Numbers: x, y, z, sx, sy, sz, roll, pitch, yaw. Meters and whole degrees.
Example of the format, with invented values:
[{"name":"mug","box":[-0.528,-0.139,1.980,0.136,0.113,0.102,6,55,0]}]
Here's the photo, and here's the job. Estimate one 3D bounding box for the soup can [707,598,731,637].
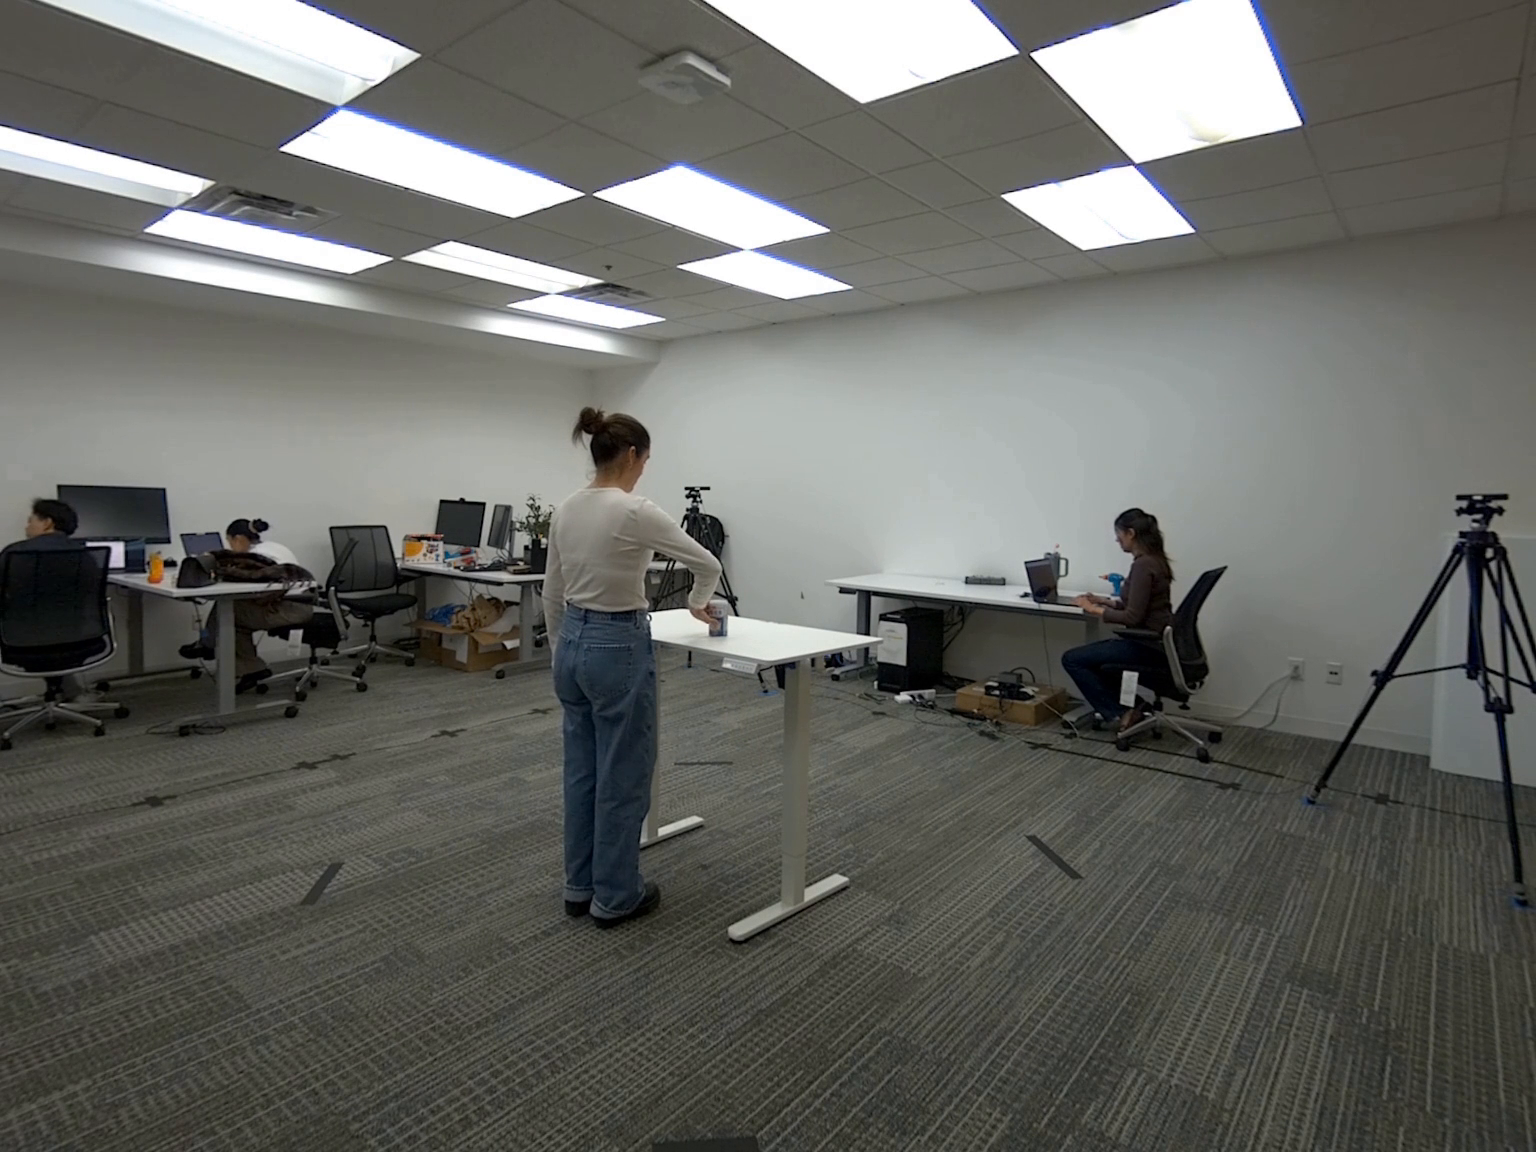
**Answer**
[{"name":"soup can","box":[-0.185,0.144,2.896,0.067,0.121,0.067,2,3,-2]}]
